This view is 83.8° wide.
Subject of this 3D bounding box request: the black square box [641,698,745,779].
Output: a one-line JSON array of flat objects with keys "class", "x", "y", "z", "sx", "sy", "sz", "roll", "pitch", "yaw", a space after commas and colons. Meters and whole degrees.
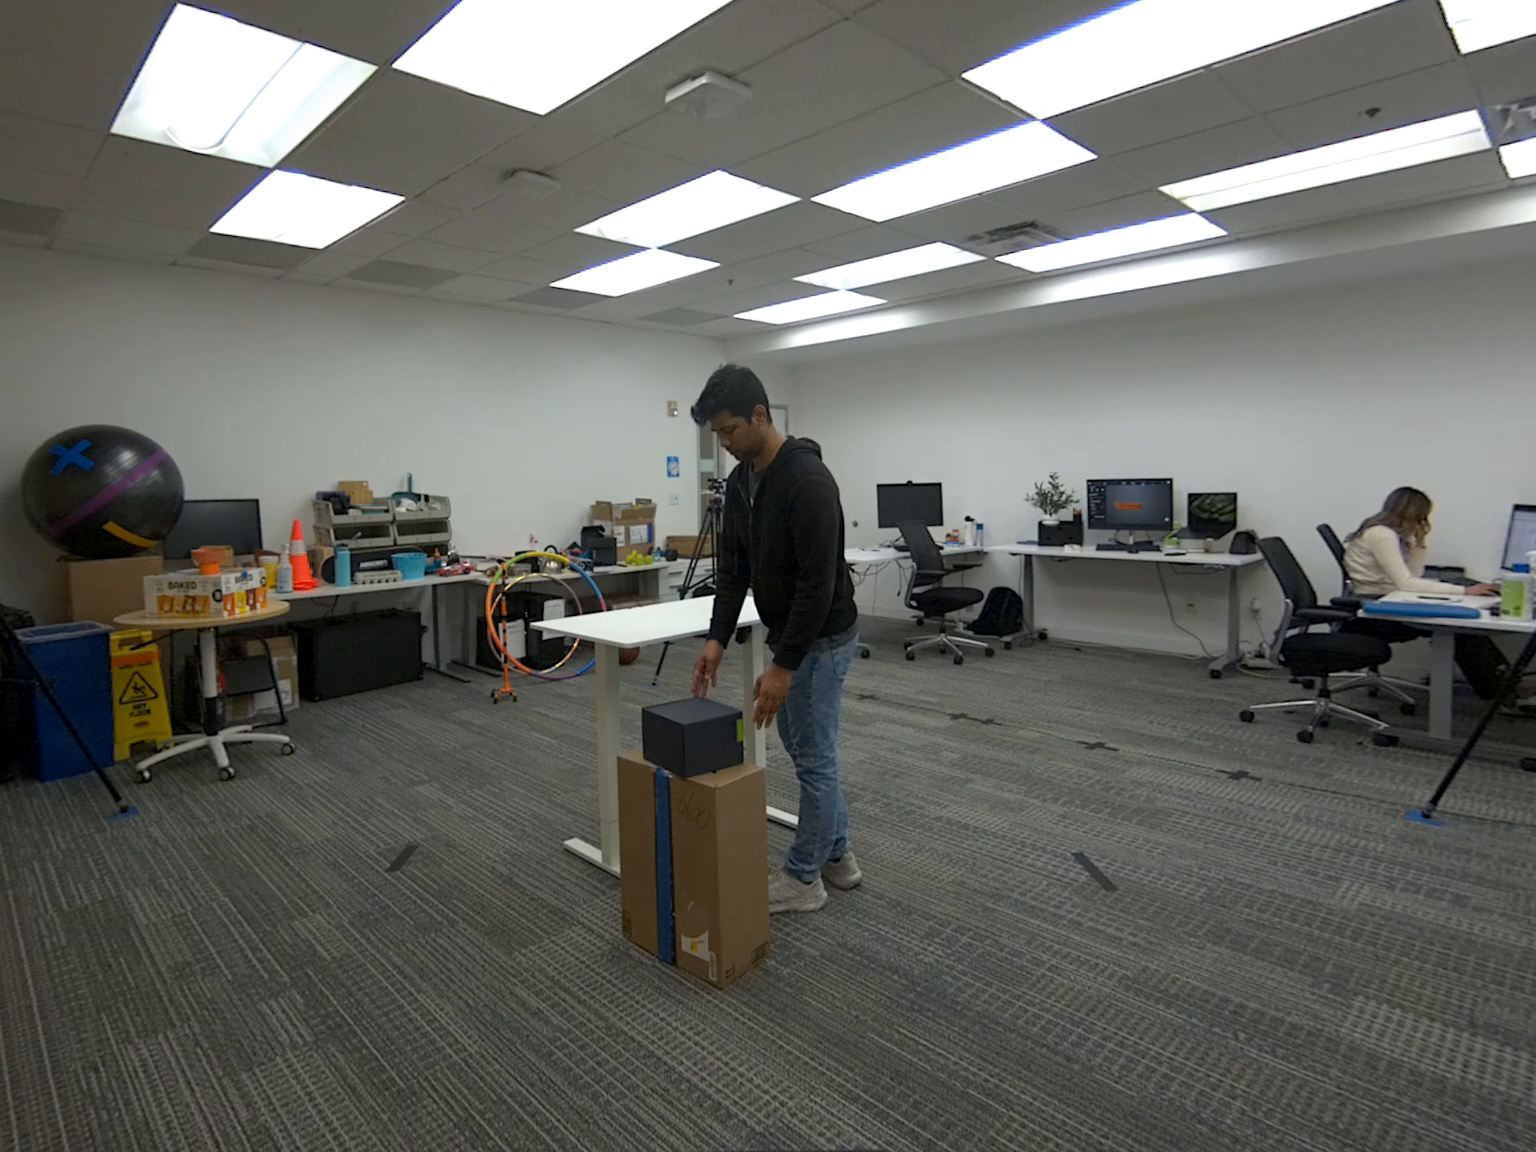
[{"class": "black square box", "x": -0.222, "y": 0.472, "z": 2.527, "sx": 0.211, "sy": 0.155, "sz": 0.235, "roll": -5, "pitch": 6, "yaw": -38}]
